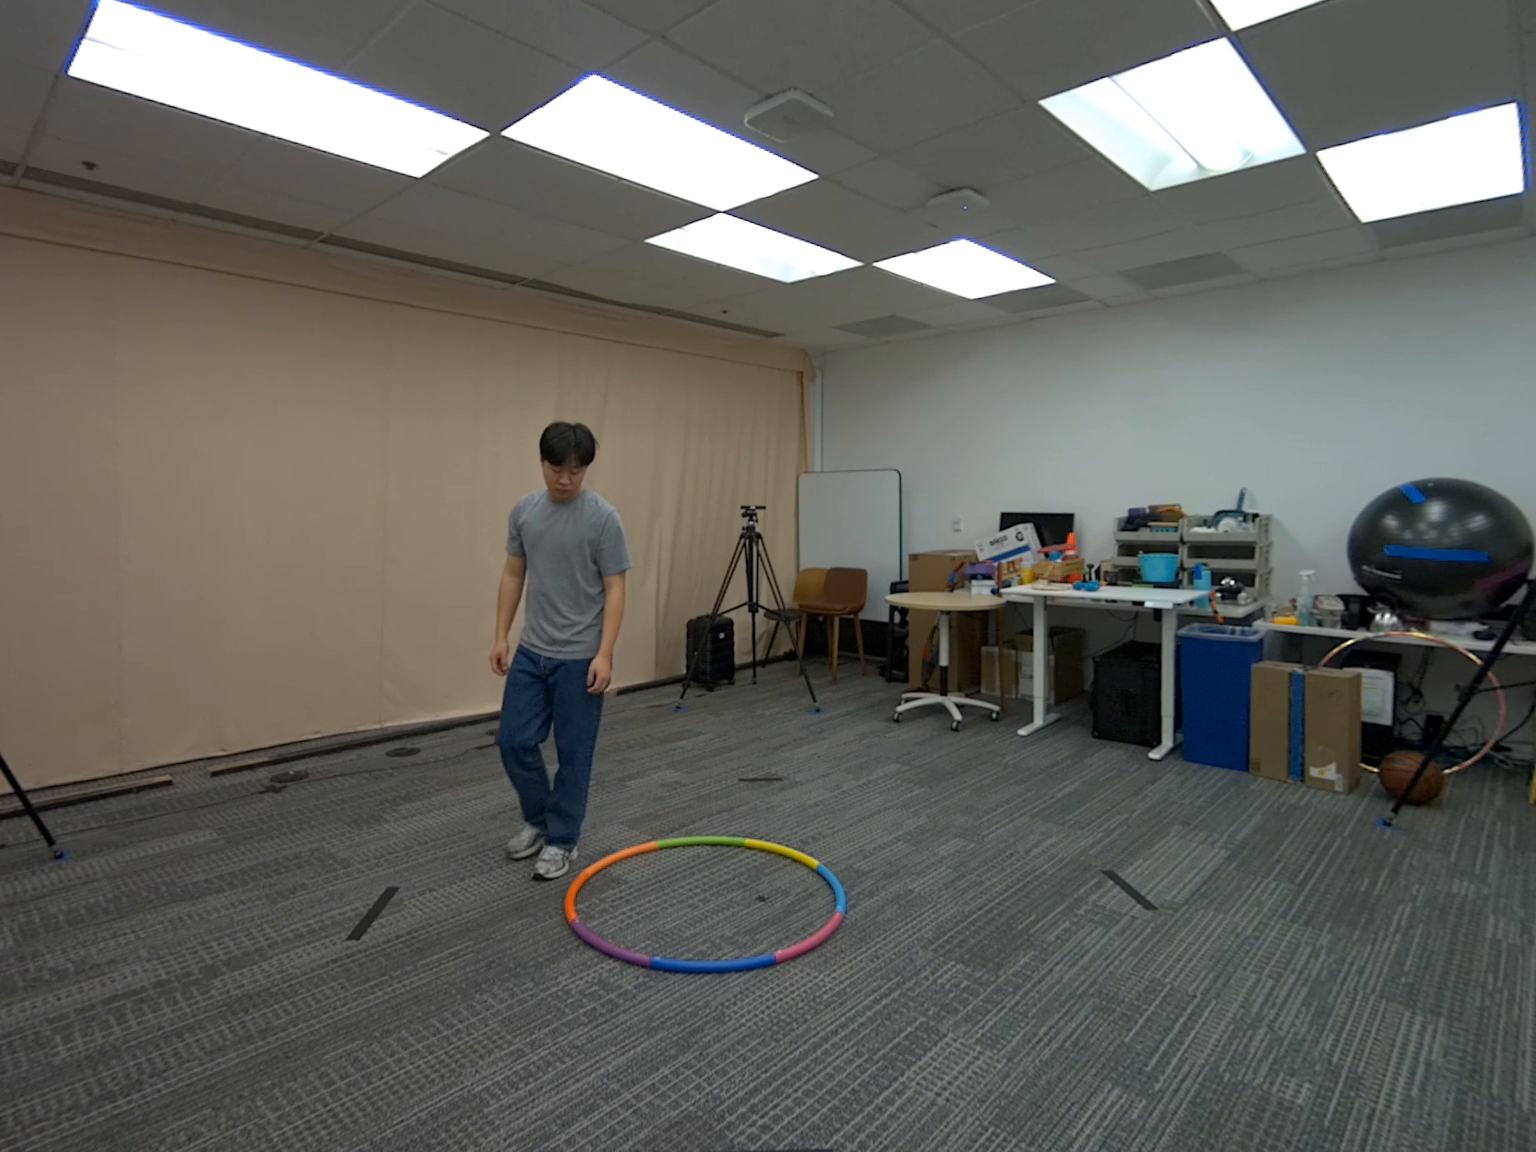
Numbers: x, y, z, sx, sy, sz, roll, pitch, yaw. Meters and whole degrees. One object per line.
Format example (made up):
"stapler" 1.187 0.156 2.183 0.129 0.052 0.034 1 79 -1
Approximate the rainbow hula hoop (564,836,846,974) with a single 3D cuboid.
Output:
"rainbow hula hoop" -0.223 1.113 2.991 0.978 0.035 0.982 -1 5 -2
